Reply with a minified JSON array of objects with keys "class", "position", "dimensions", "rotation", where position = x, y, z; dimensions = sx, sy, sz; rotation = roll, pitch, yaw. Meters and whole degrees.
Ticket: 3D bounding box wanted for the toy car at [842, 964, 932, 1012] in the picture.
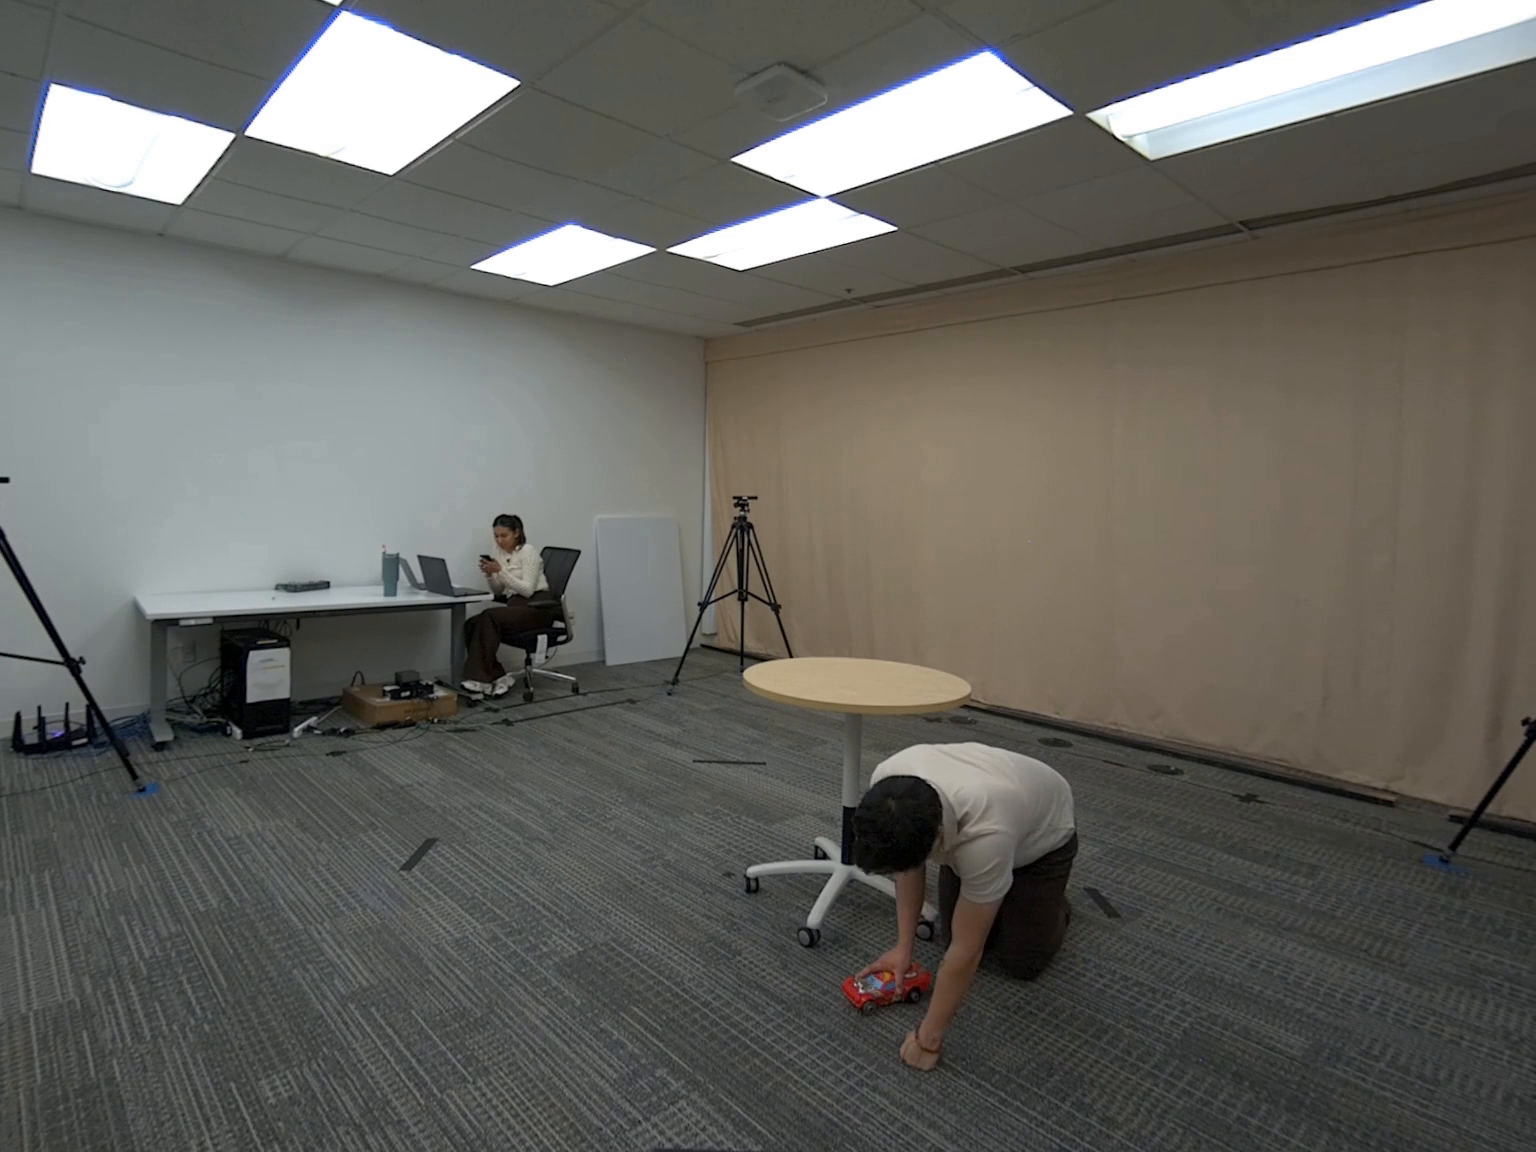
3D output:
[{"class":"toy car","position":[0.318,1.148,2.365],"dimensions":[0.251,0.082,0.133],"rotation":[-14,11,-22]}]
